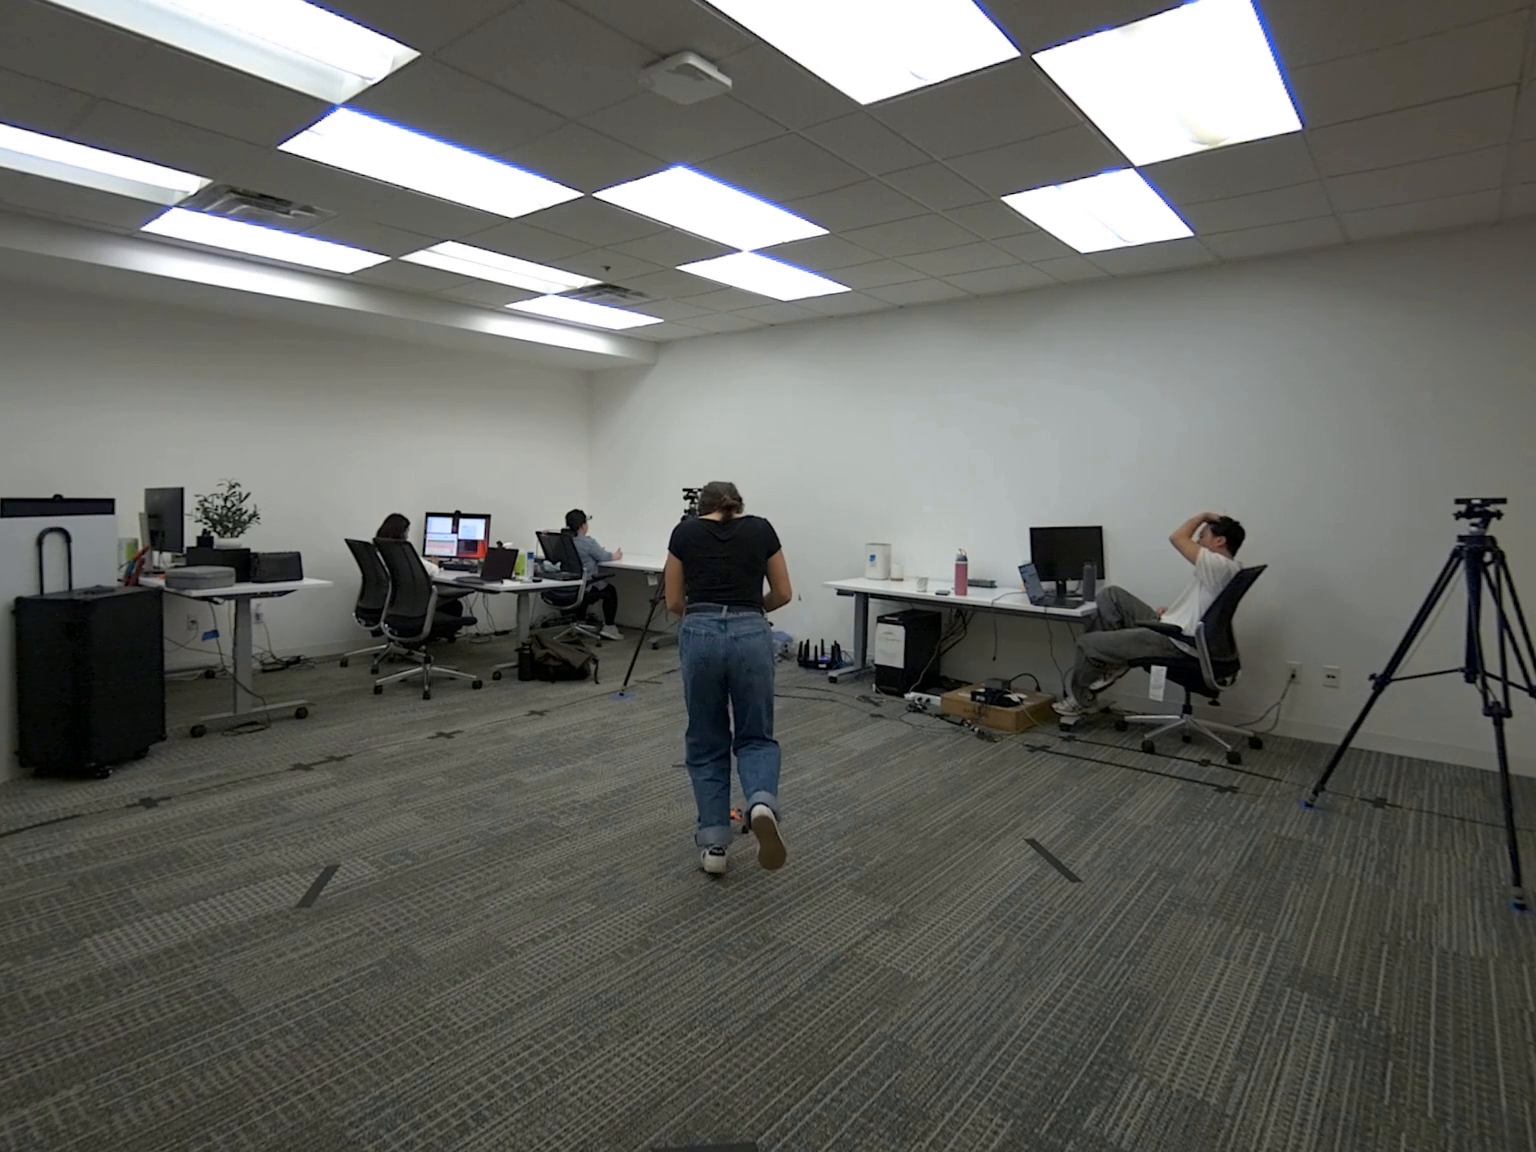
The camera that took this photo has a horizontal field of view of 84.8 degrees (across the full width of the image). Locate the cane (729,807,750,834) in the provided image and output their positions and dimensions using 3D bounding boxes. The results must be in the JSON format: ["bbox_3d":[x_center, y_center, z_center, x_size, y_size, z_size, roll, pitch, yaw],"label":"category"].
[{"bbox_3d":[-0.174,0.567,3.490,0.206,0.906,0.152,1,2,-4],"label":"cane"}]
